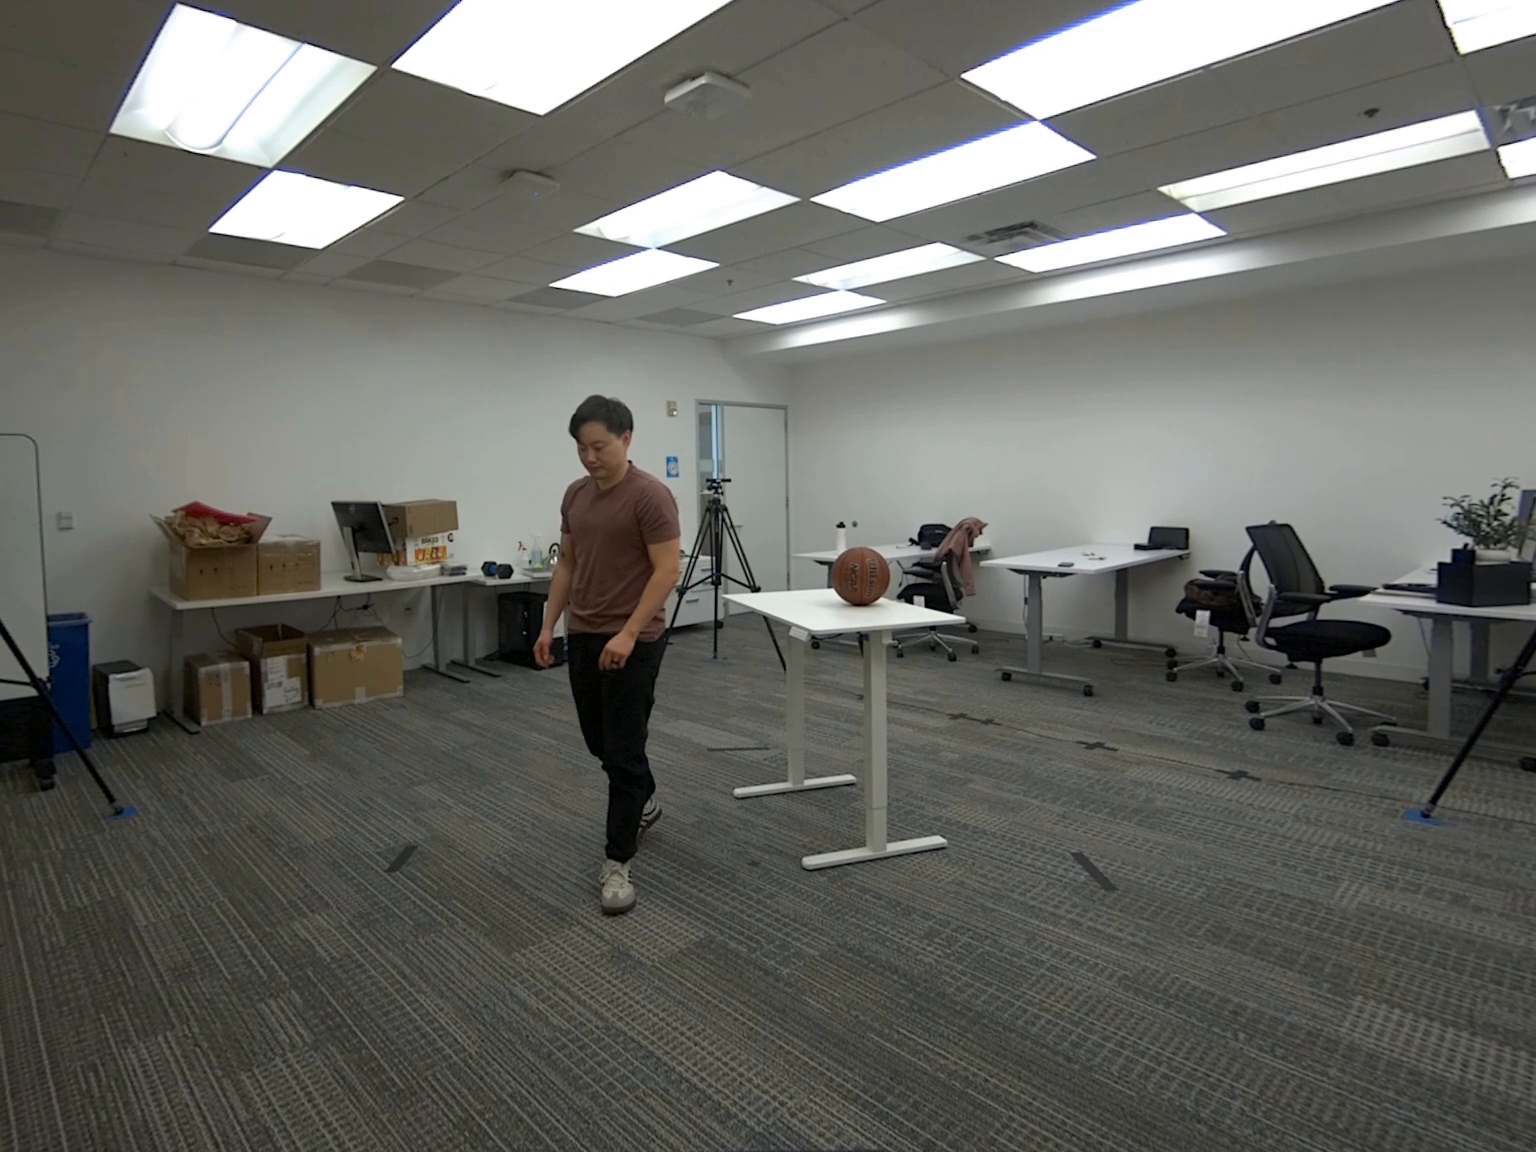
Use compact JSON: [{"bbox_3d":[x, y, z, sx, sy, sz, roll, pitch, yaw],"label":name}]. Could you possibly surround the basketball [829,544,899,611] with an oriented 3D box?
[{"bbox_3d":[0.379,-0.001,3.444,0.236,0.235,0.237,-1,5,-2],"label":"basketball"}]
